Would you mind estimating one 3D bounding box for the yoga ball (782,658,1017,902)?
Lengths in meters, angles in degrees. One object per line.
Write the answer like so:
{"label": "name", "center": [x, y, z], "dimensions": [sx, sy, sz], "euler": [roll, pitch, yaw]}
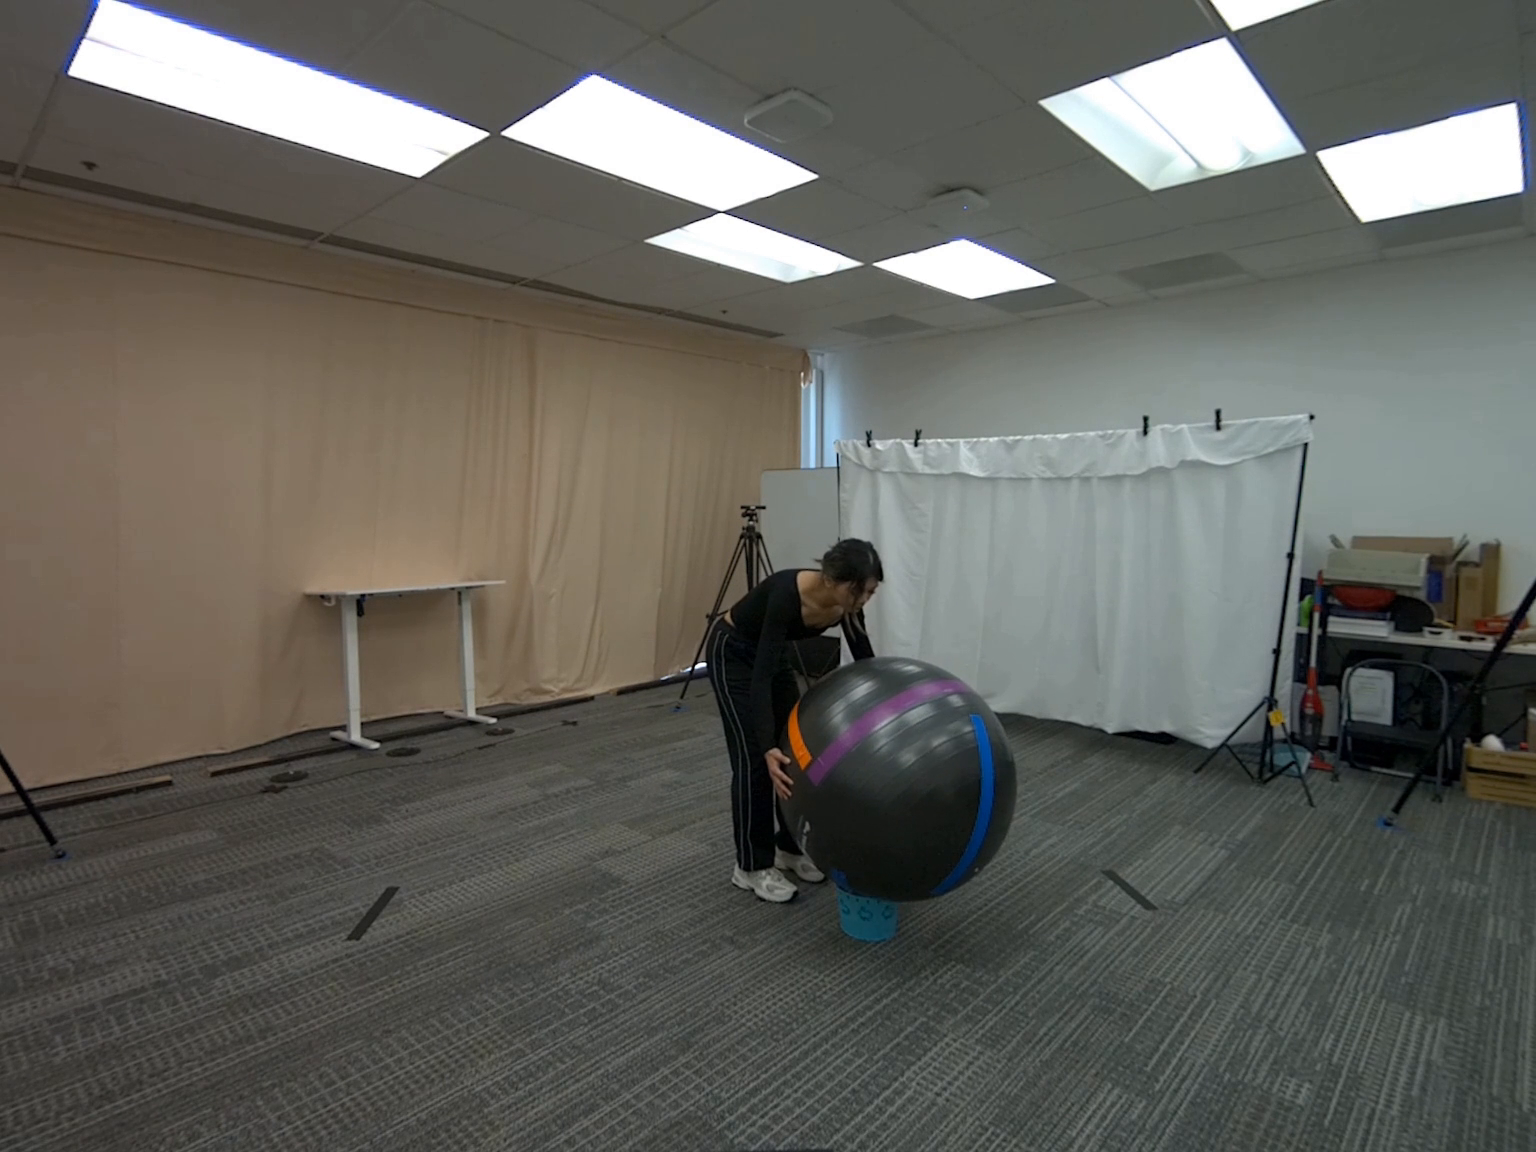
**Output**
{"label": "yoga ball", "center": [0.413, 0.645, 2.707], "dimensions": [0.757, 0.756, 0.760], "euler": [0, 4, -2]}
